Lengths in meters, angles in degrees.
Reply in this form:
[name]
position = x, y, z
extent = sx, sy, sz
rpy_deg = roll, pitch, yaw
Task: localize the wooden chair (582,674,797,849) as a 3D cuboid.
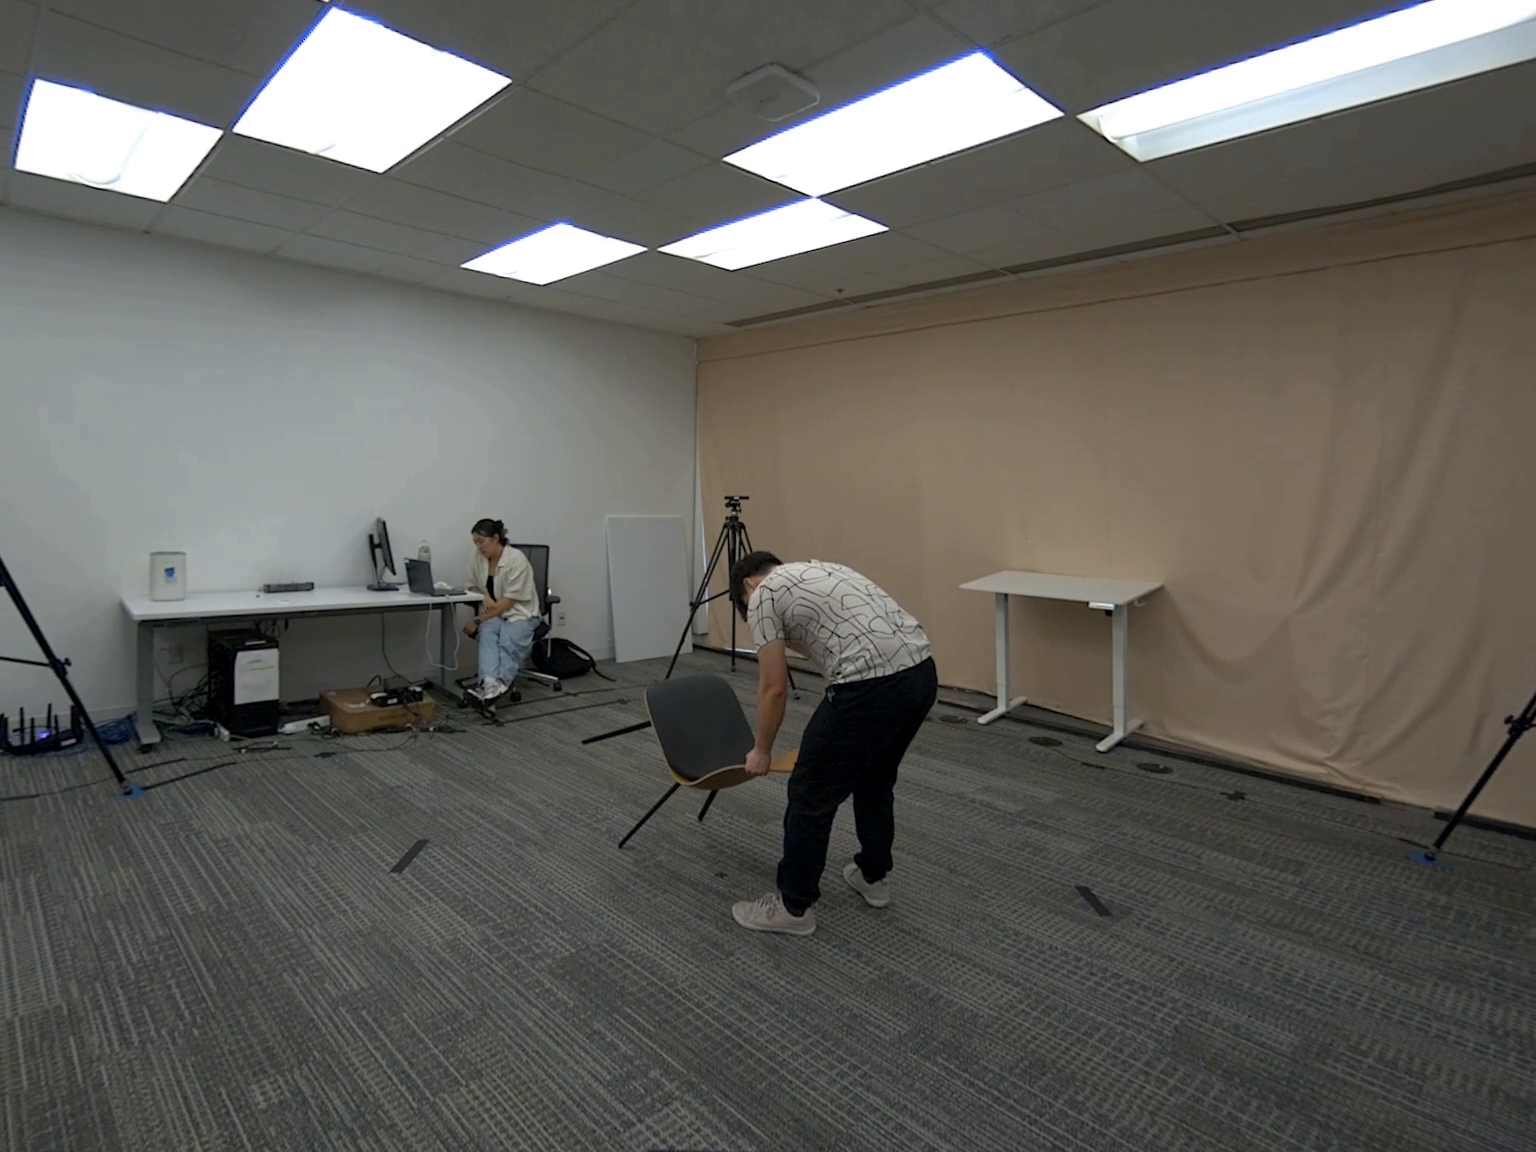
[wooden chair]
position = -0.272, 0.646, 3.307
extent = 0.467, 0.532, 0.882
rpy_deg = -2, -26, -46
